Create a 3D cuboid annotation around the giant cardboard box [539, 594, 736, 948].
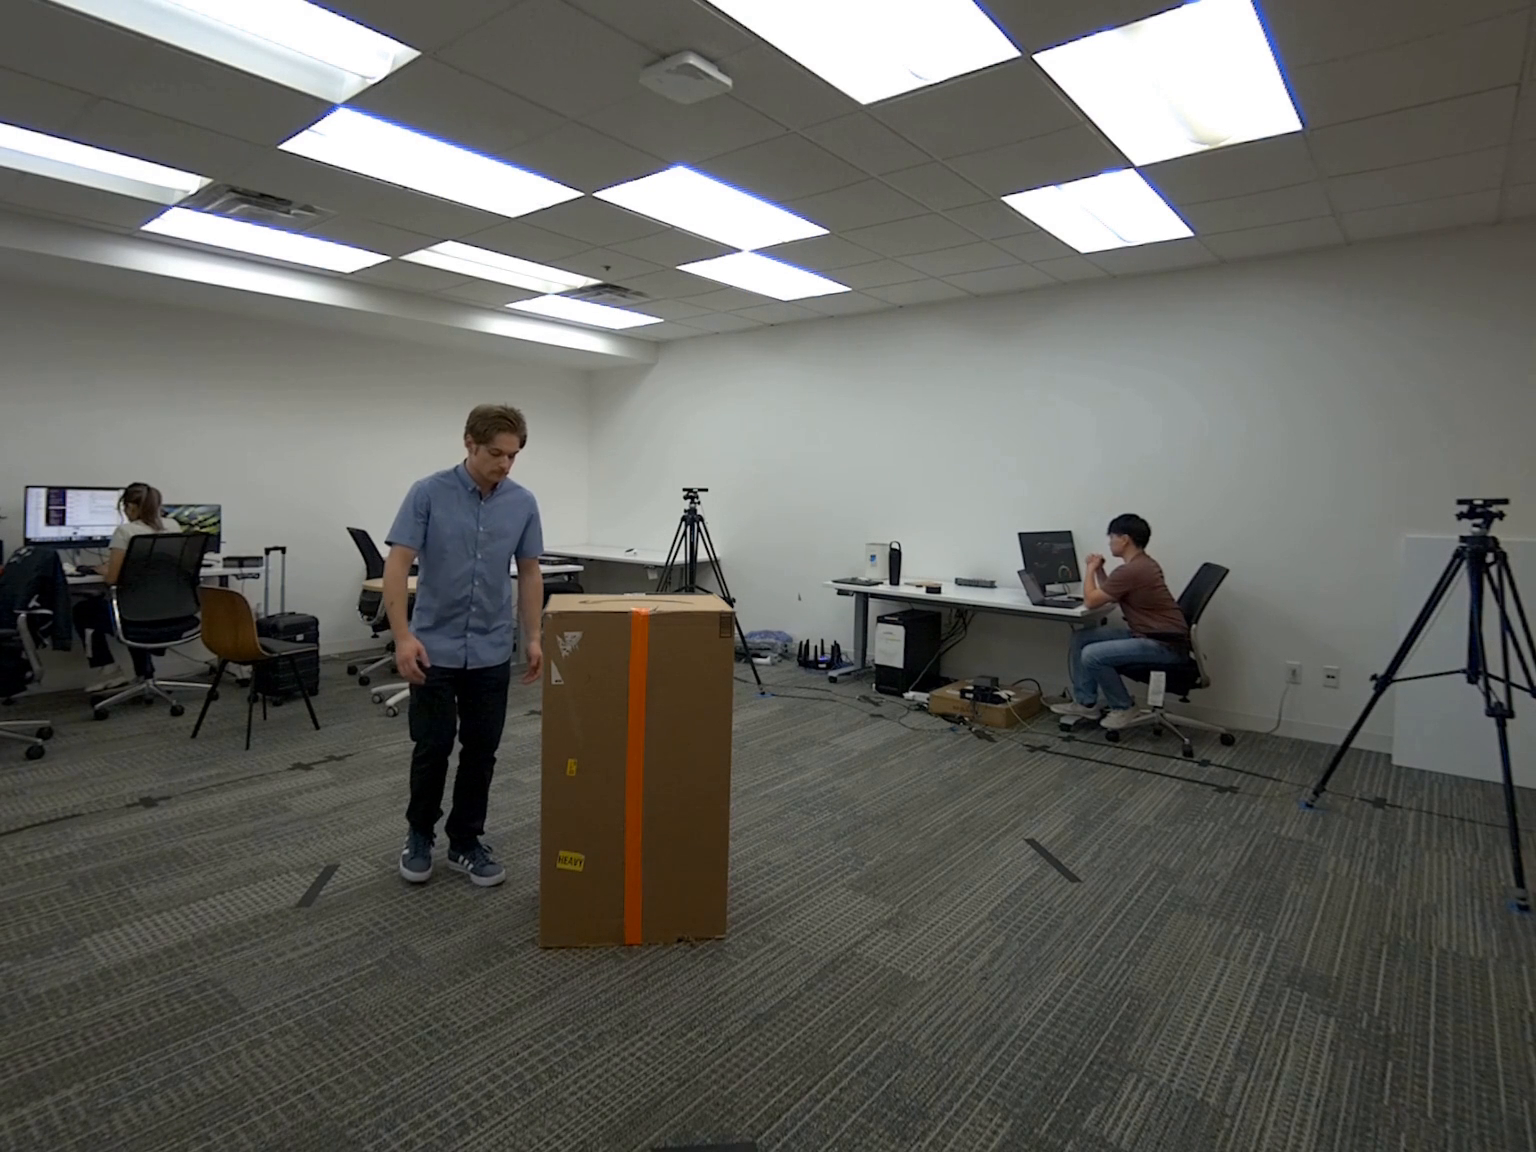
[{"bbox_3d":[-0.447,0.592,2.762,0.572,1.023,0.431,0,3,-9],"label":"giant cardboard box"}]
